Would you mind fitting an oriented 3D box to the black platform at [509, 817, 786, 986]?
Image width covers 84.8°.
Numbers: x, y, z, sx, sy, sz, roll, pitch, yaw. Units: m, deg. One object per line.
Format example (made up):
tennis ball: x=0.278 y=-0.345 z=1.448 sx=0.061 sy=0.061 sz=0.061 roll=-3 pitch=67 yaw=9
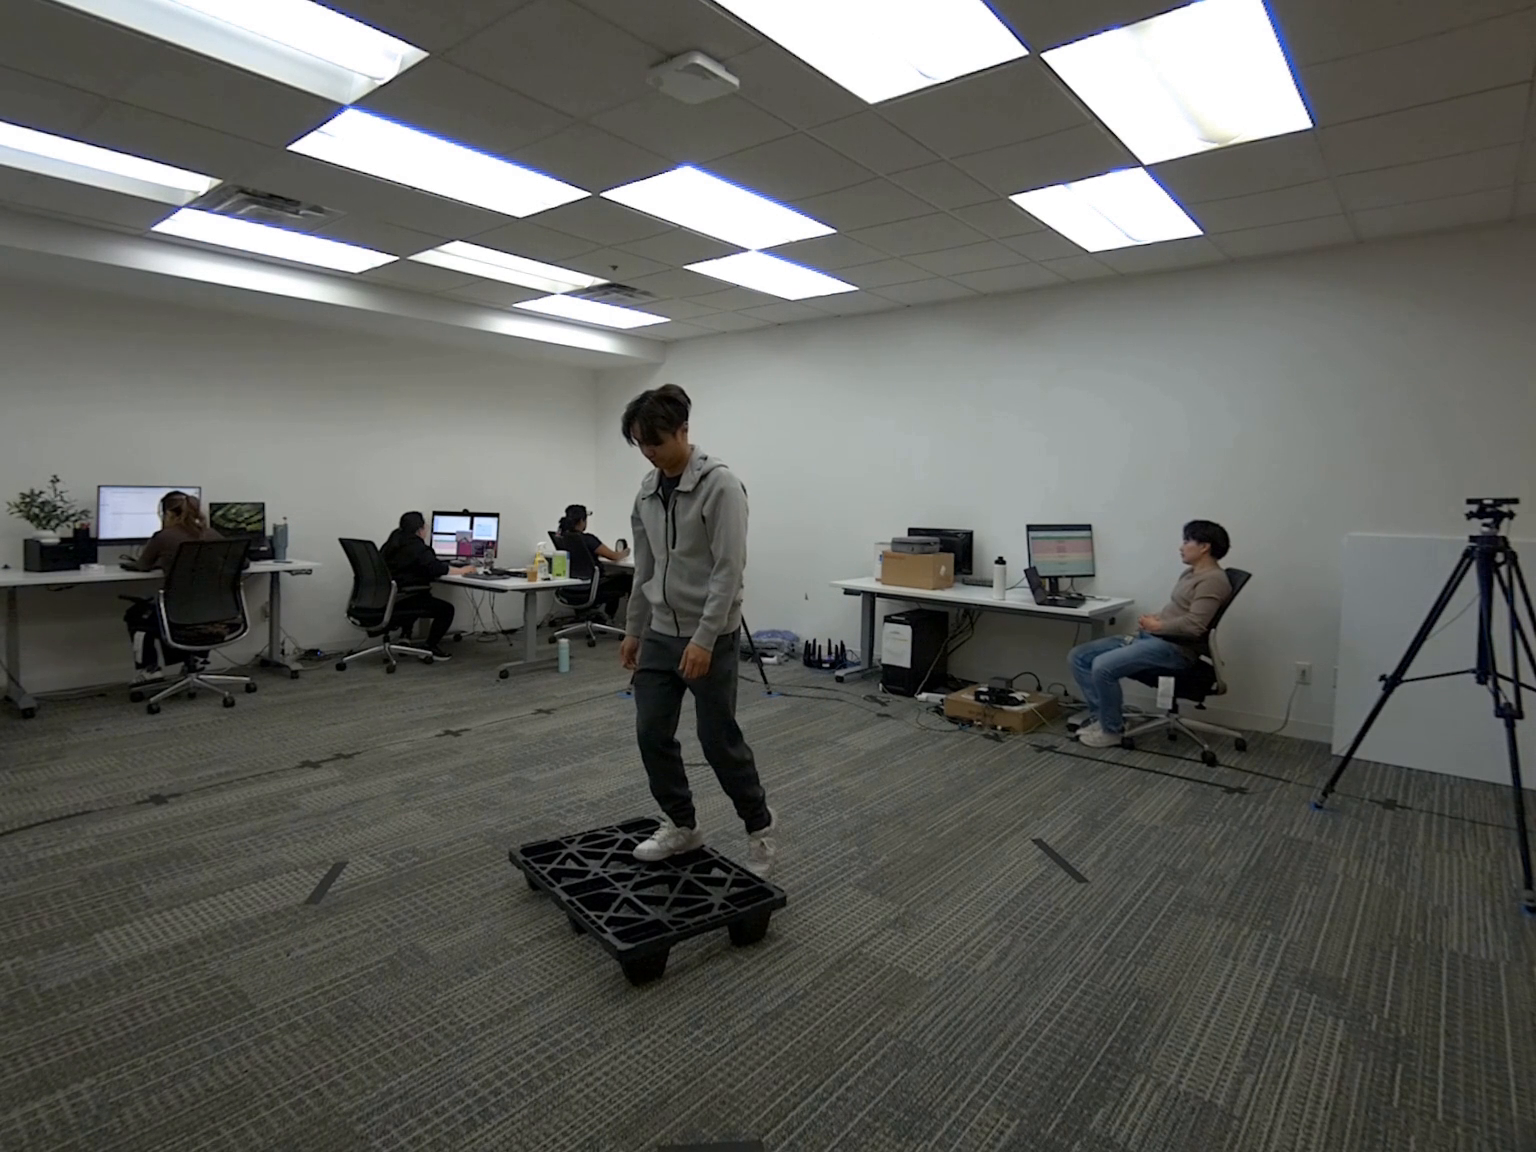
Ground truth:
black platform: x=-0.427 y=1.027 z=2.792 sx=0.587 sy=0.143 sz=0.832 roll=-2 pitch=6 yaw=-37
